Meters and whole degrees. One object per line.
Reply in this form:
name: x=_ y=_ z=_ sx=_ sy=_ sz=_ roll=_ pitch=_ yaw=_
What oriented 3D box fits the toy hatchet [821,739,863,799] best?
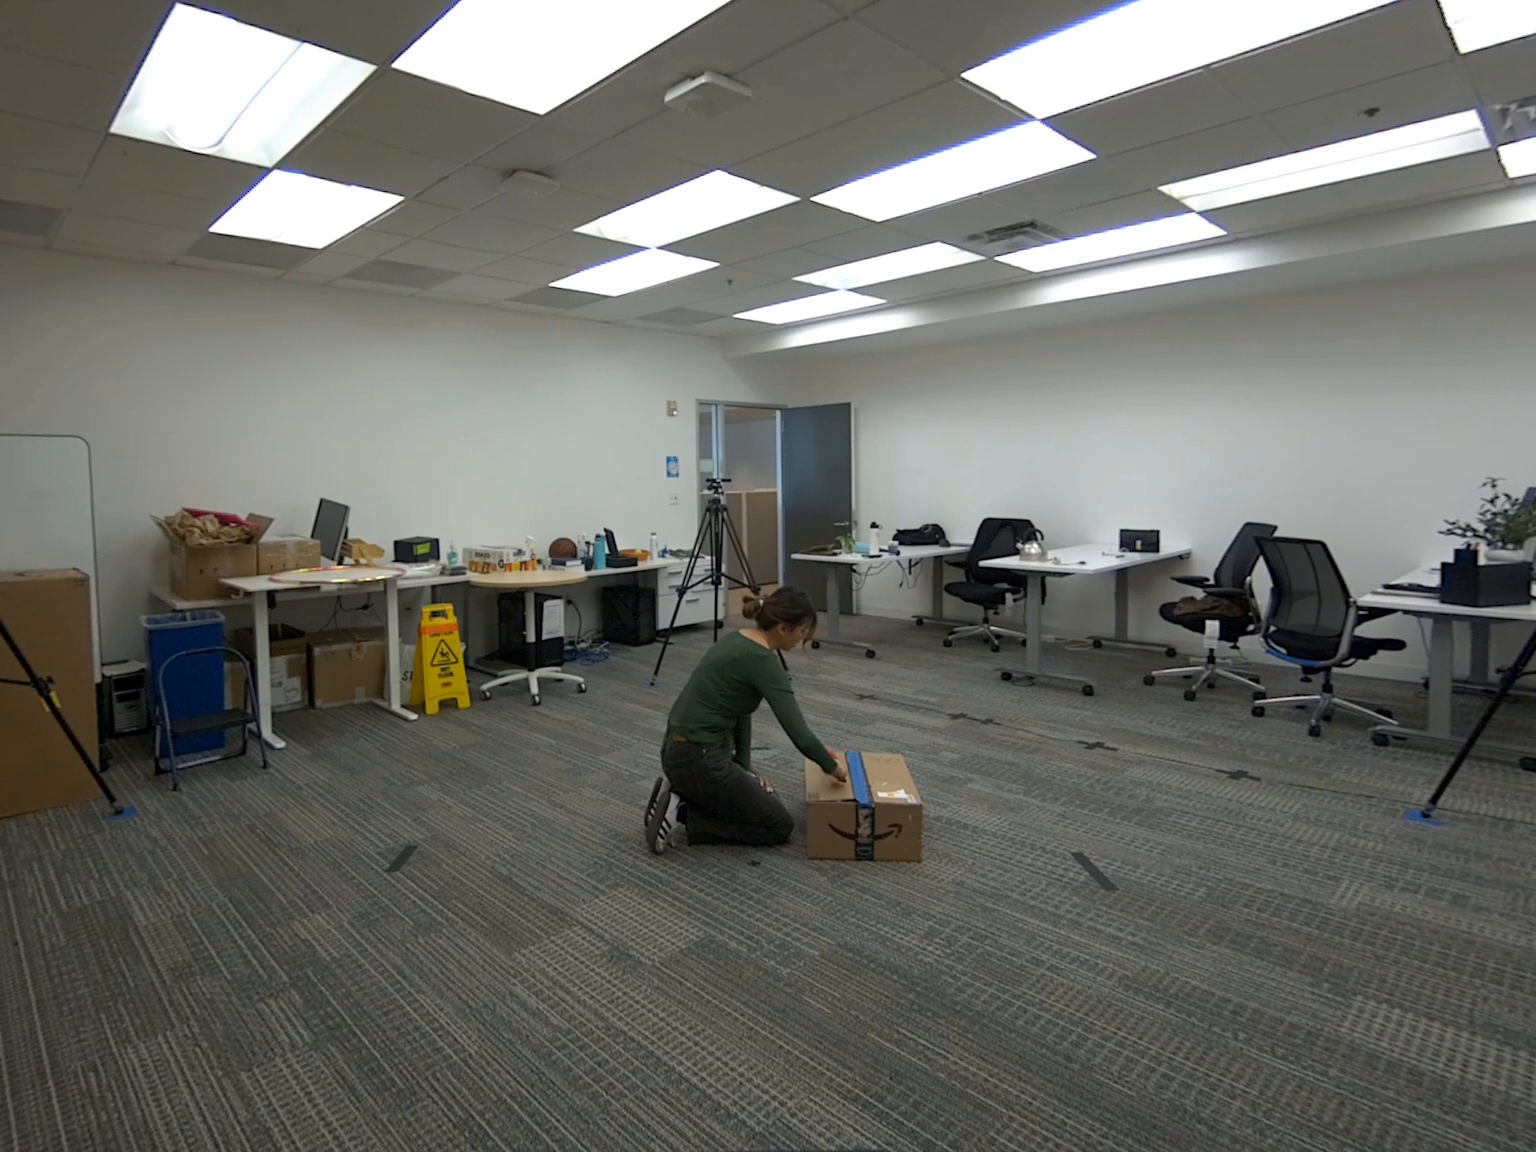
toy hatchet: x=0.277 y=0.749 z=3.356 sx=0.029 sy=0.128 sz=0.276 roll=-44 pitch=17 yaw=4
